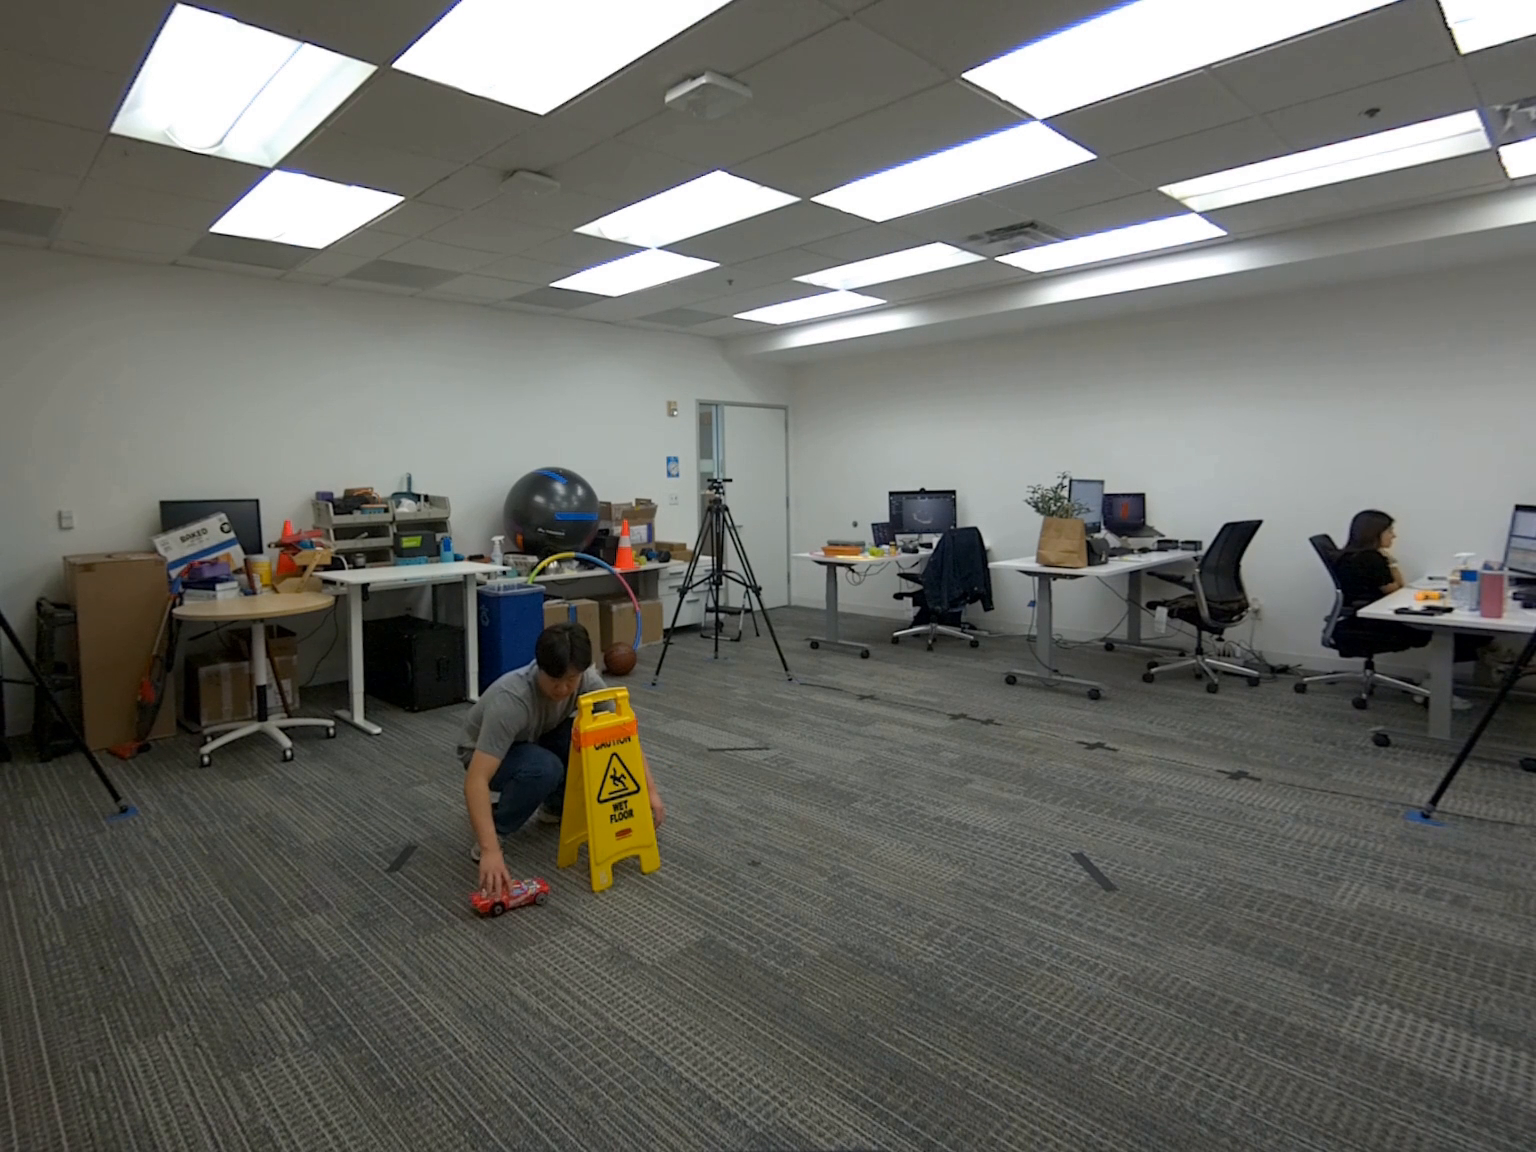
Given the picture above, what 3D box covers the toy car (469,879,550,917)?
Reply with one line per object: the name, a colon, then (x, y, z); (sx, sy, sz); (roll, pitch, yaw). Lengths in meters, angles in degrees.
toy car: (-0.870, 1.067, 2.826); (0.248, 0.083, 0.134); (7, 0, -29)
